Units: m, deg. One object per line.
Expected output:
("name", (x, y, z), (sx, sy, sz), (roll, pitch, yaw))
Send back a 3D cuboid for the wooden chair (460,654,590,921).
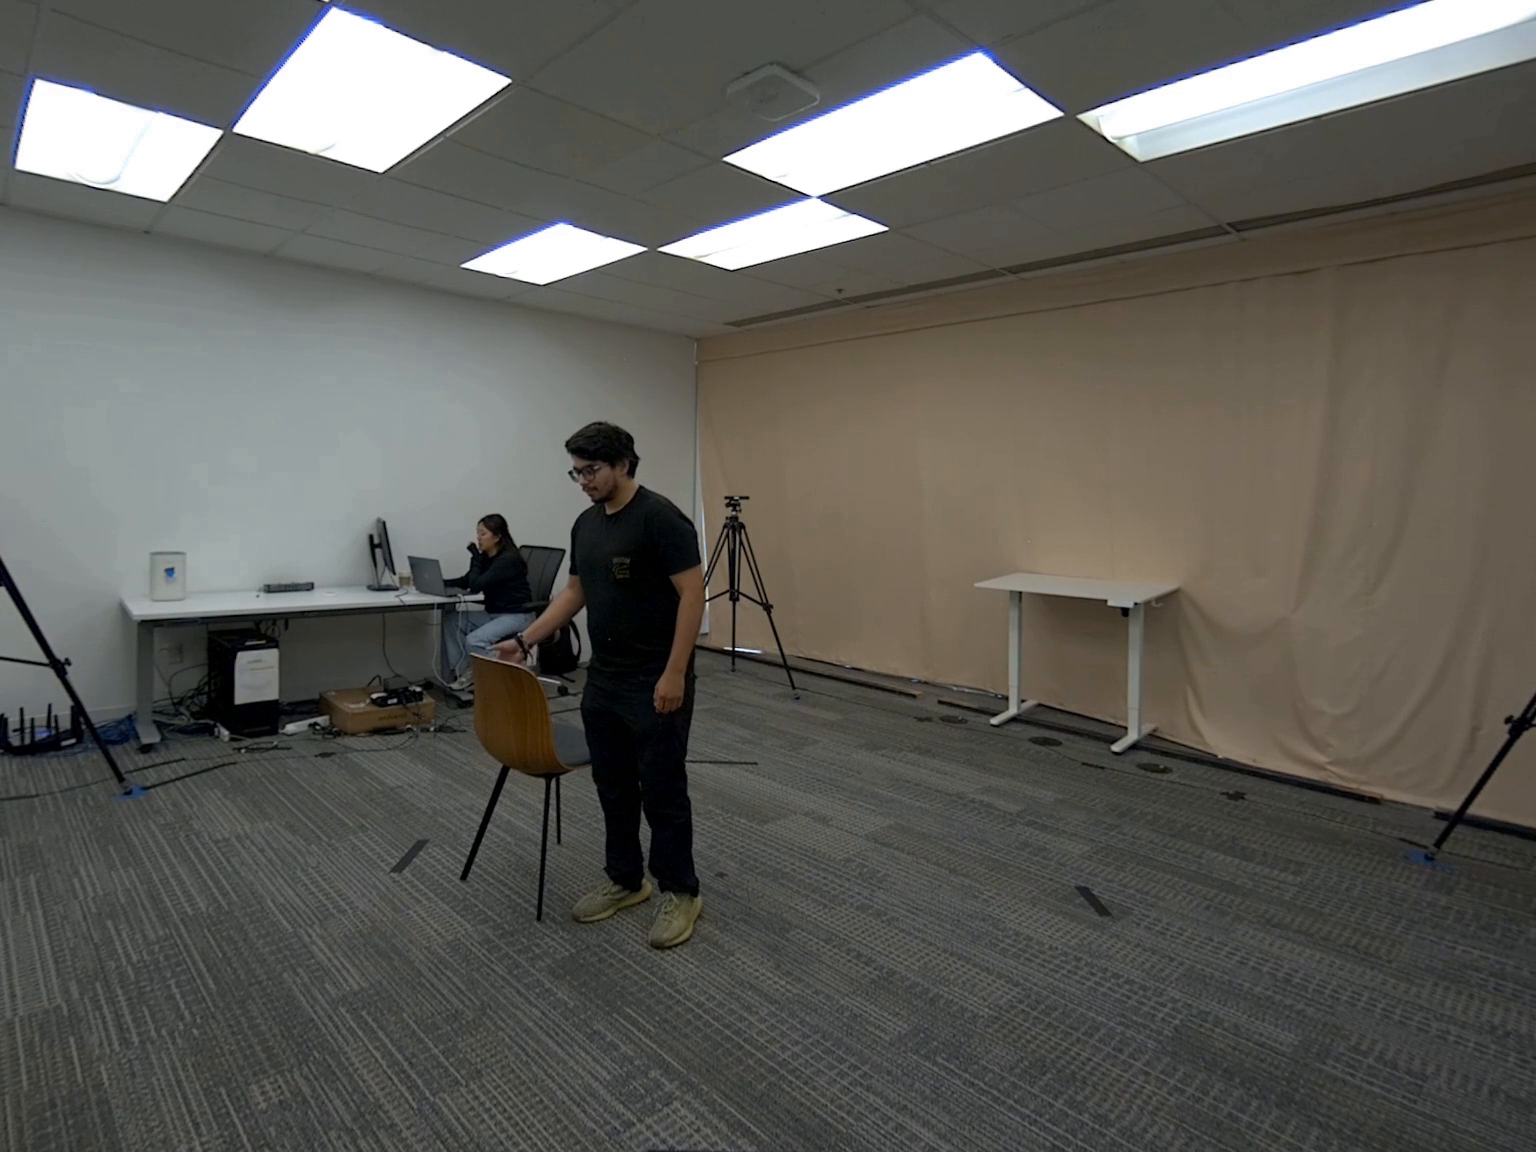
("wooden chair", (-0.782, 0.669, 3.031), (0.490, 0.873, 0.513), (4, 8, 38))
